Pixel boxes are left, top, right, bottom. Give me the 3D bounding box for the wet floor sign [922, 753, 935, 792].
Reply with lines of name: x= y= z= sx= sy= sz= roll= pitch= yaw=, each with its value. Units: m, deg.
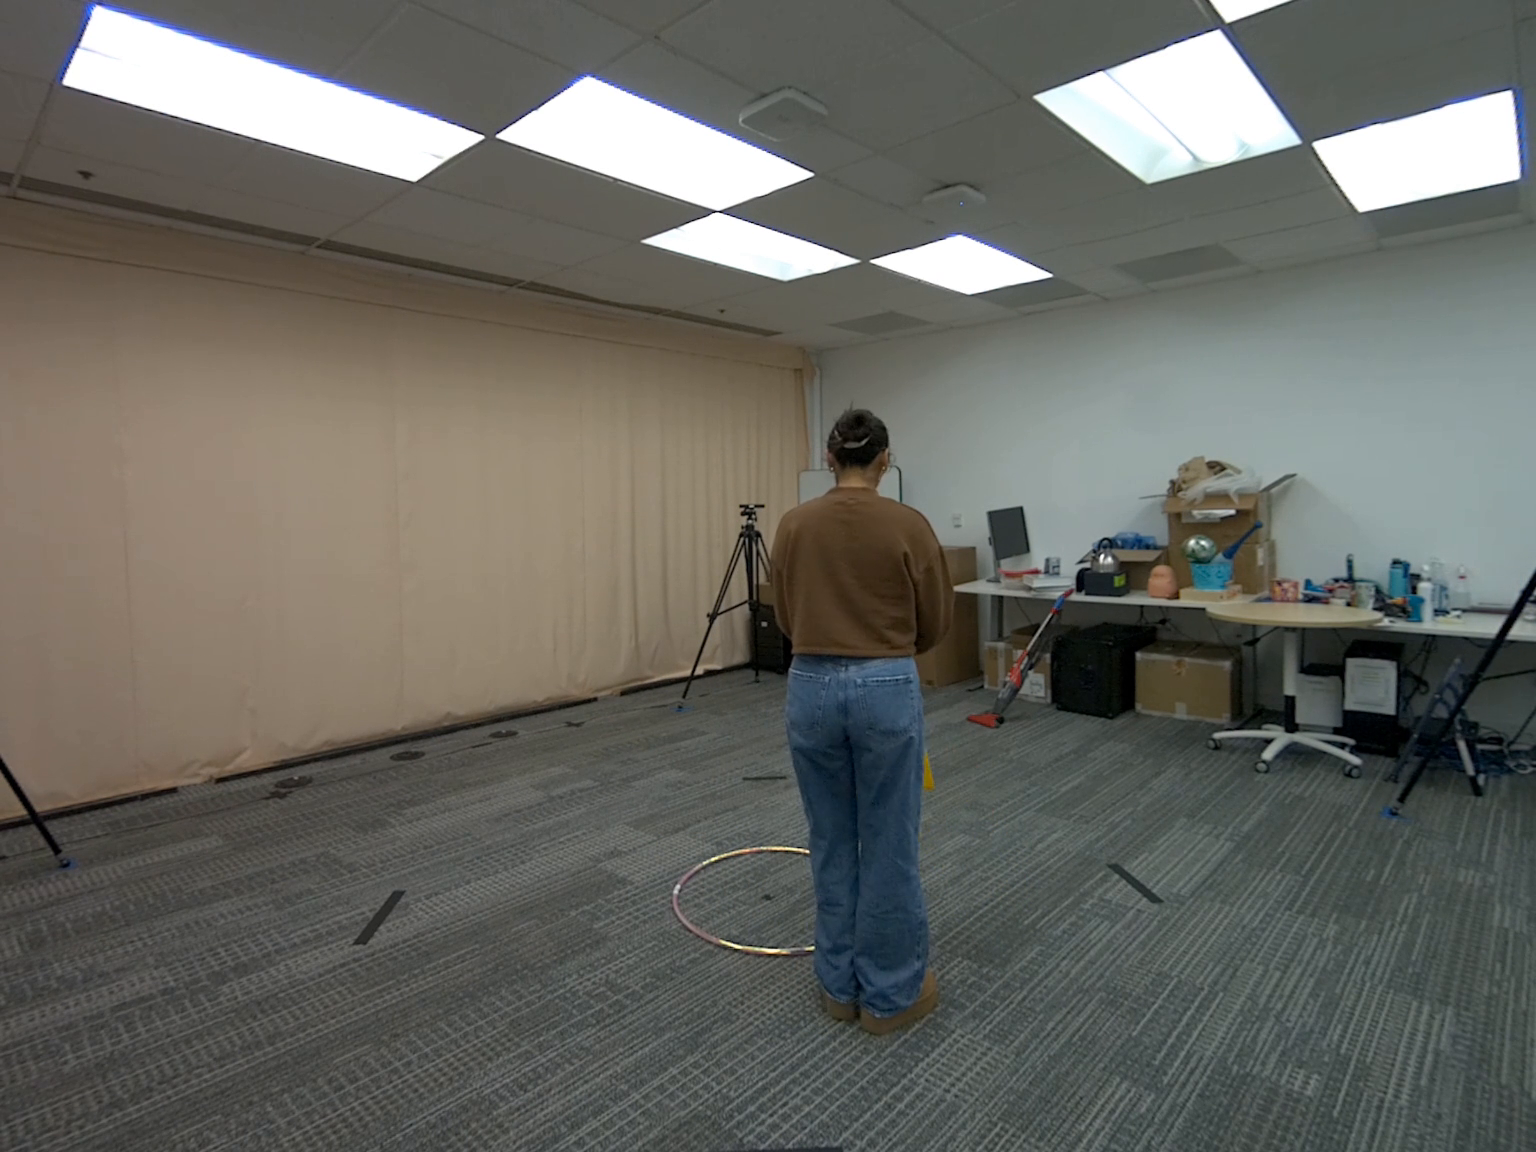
wet floor sign: x=0.347 y=0.483 z=2.684 sx=0.289 sy=0.637 sz=0.287 roll=0 pitch=20 yaw=22
